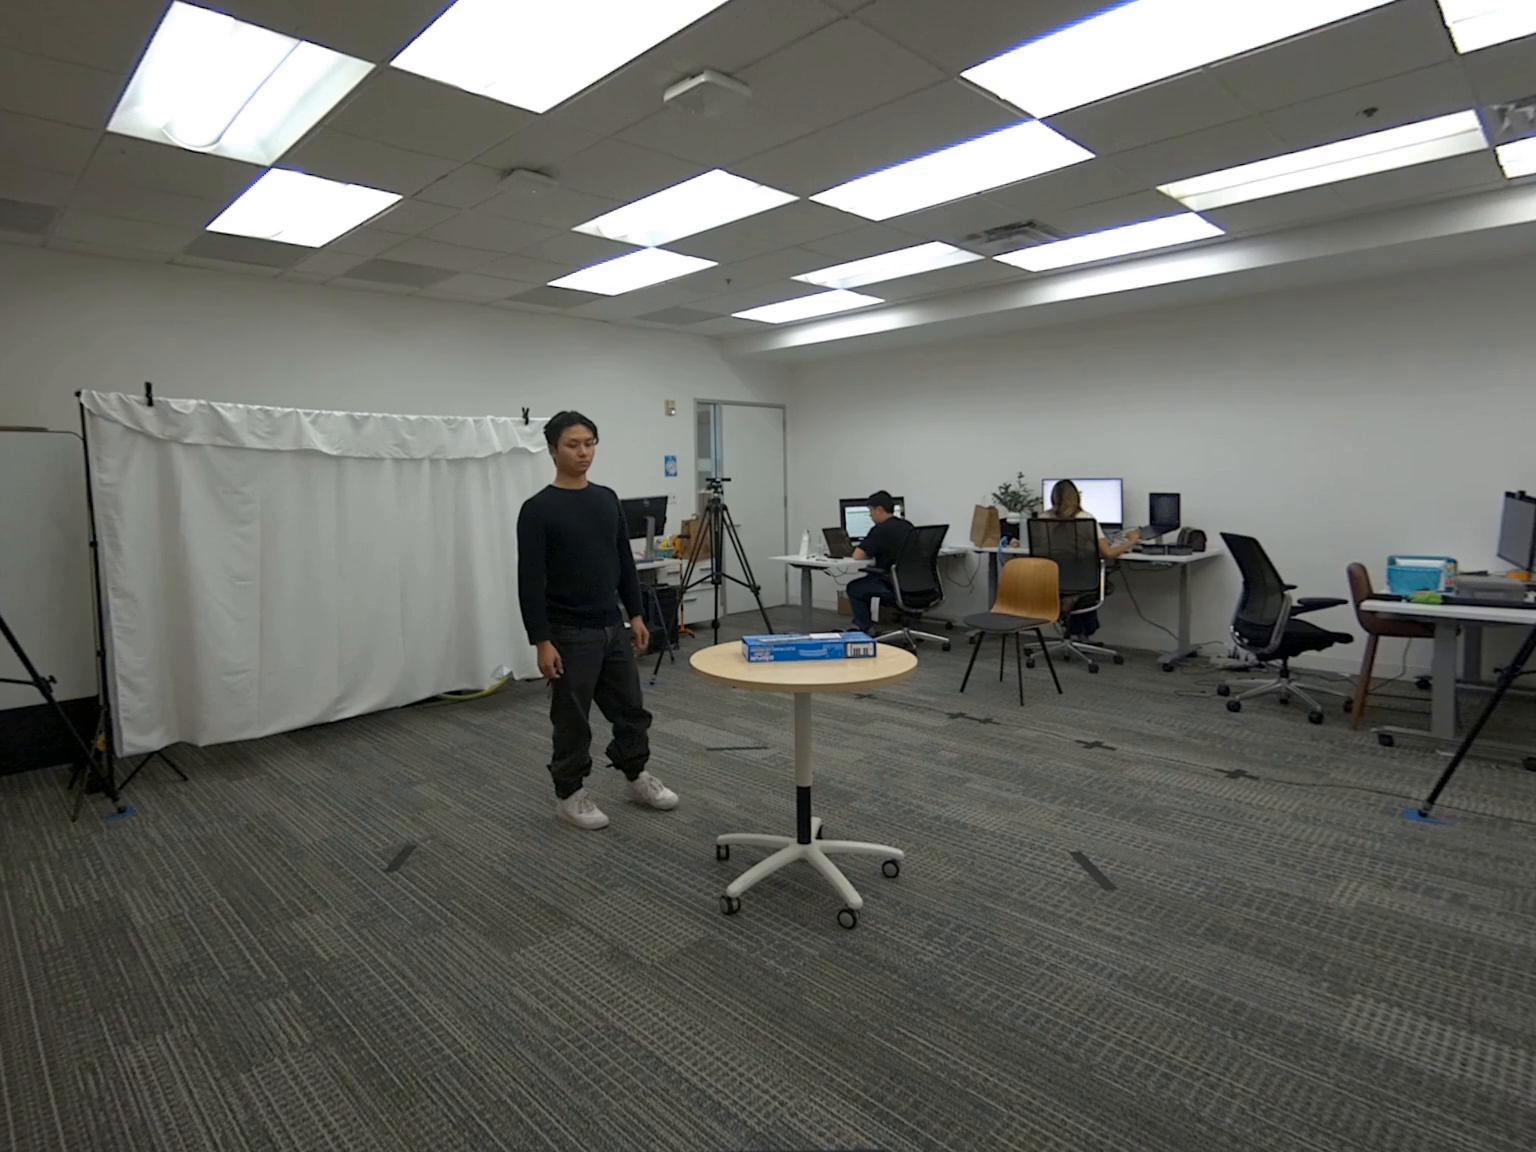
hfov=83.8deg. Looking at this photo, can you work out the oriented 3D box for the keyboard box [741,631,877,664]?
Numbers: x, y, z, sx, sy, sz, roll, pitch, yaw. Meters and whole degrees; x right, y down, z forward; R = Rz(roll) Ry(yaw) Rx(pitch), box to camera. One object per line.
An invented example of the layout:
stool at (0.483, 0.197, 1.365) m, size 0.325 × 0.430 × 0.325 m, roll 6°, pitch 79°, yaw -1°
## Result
keyboard box at (0.140, 0.242, 2.947) m, size 0.434 × 0.059 × 0.178 m, roll -1°, pitch 5°, yaw -7°
